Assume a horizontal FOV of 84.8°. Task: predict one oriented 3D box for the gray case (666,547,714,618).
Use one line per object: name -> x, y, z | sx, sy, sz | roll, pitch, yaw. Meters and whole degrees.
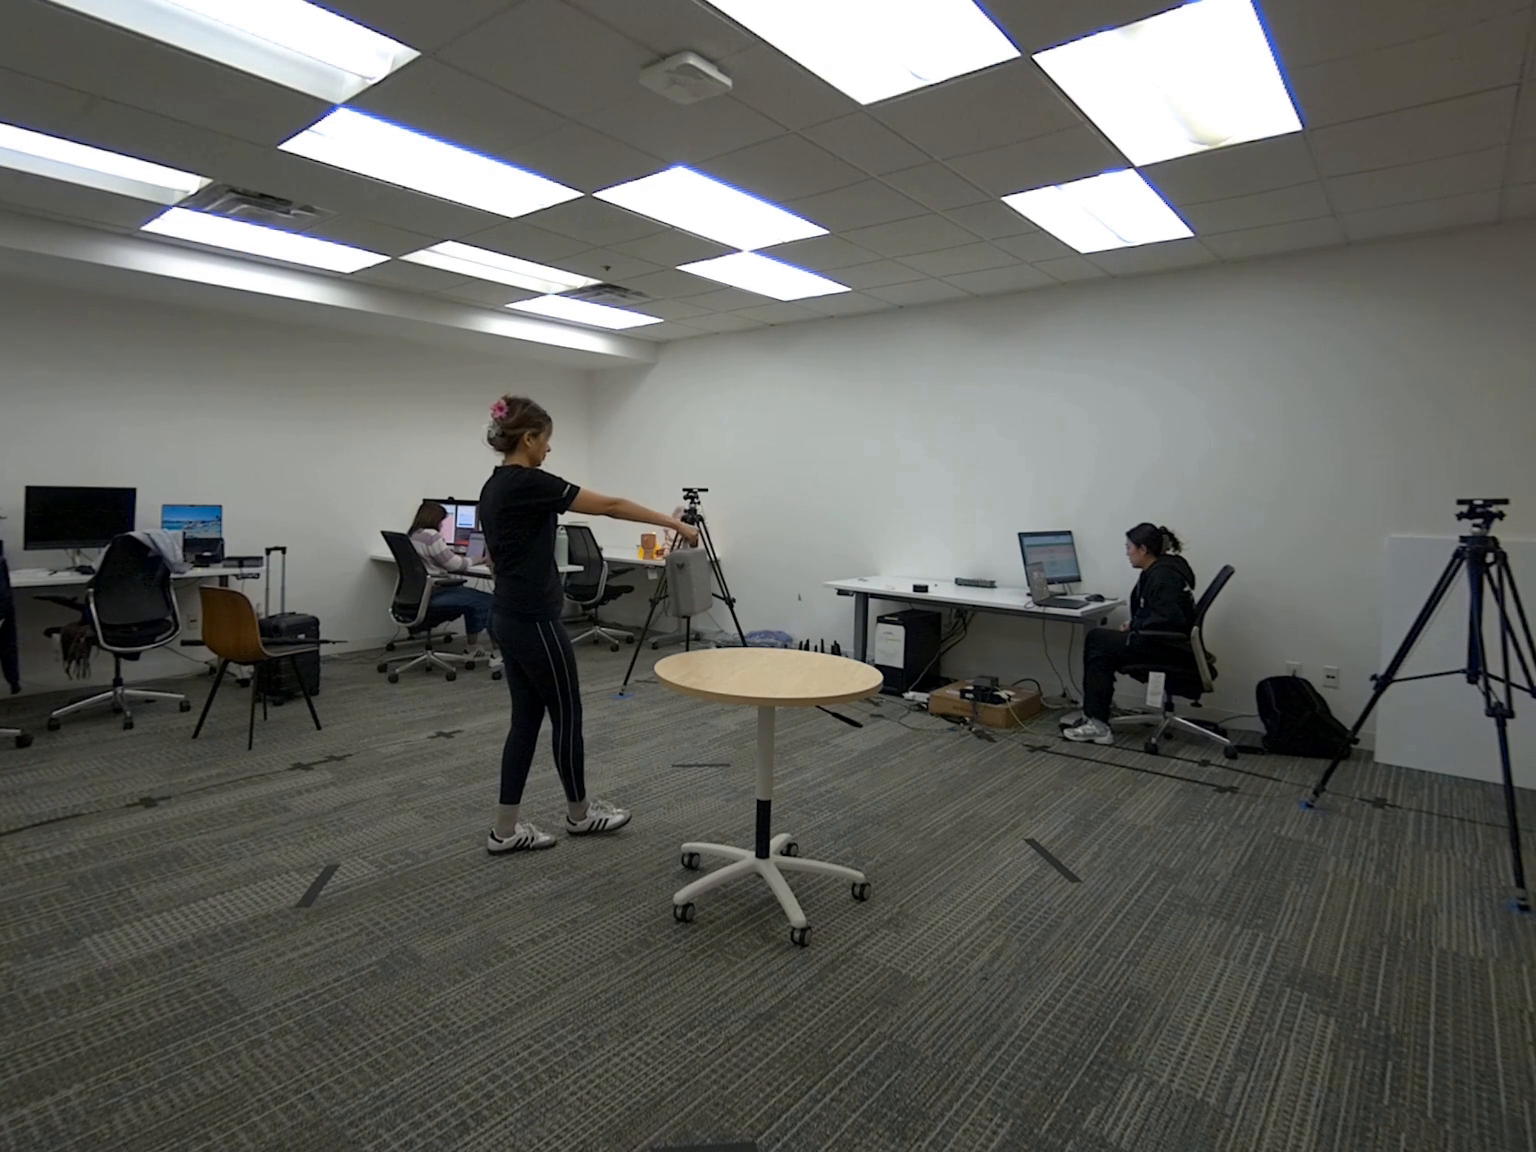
gray case -> -0.312, 0.015, 3.290 | 0.106, 0.259, 0.254 | -4, 5, 14
